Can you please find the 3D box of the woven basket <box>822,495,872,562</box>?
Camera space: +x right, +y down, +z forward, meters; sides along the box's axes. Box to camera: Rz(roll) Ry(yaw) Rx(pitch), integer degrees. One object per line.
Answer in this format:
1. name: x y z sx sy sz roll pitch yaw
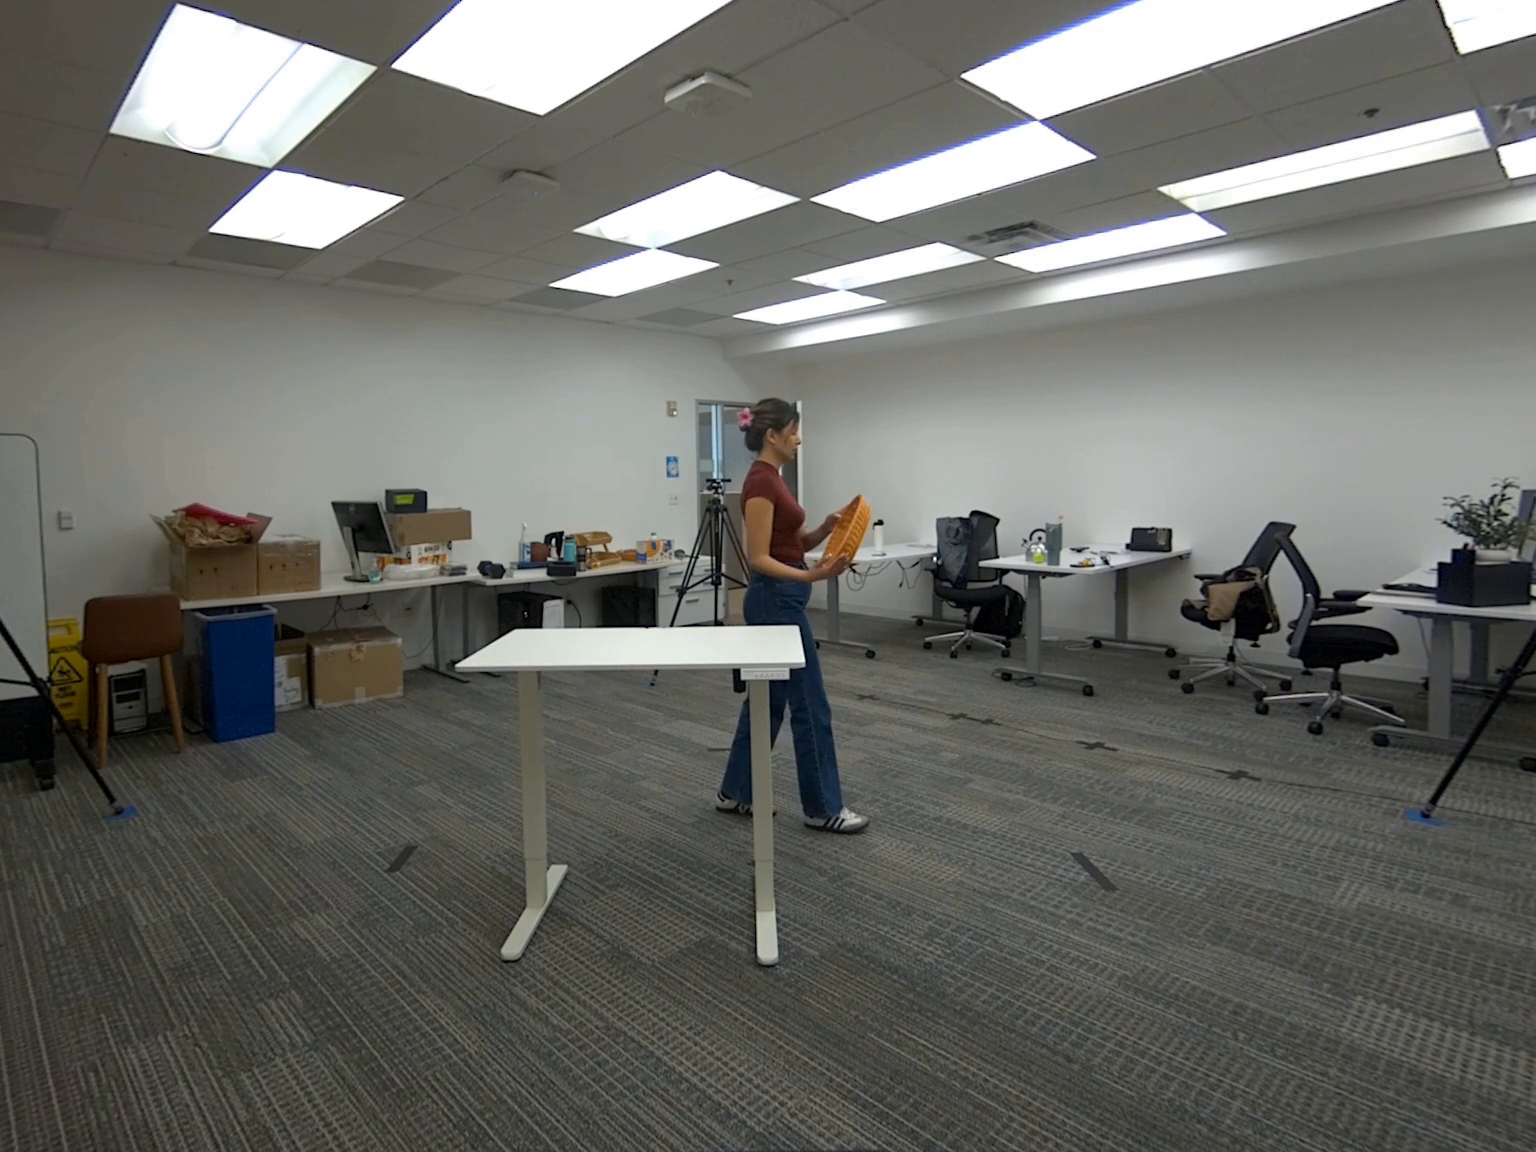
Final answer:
1. woven basket: 0.290 -0.141 3.163 0.073 0.352 0.253 32 -14 -7
